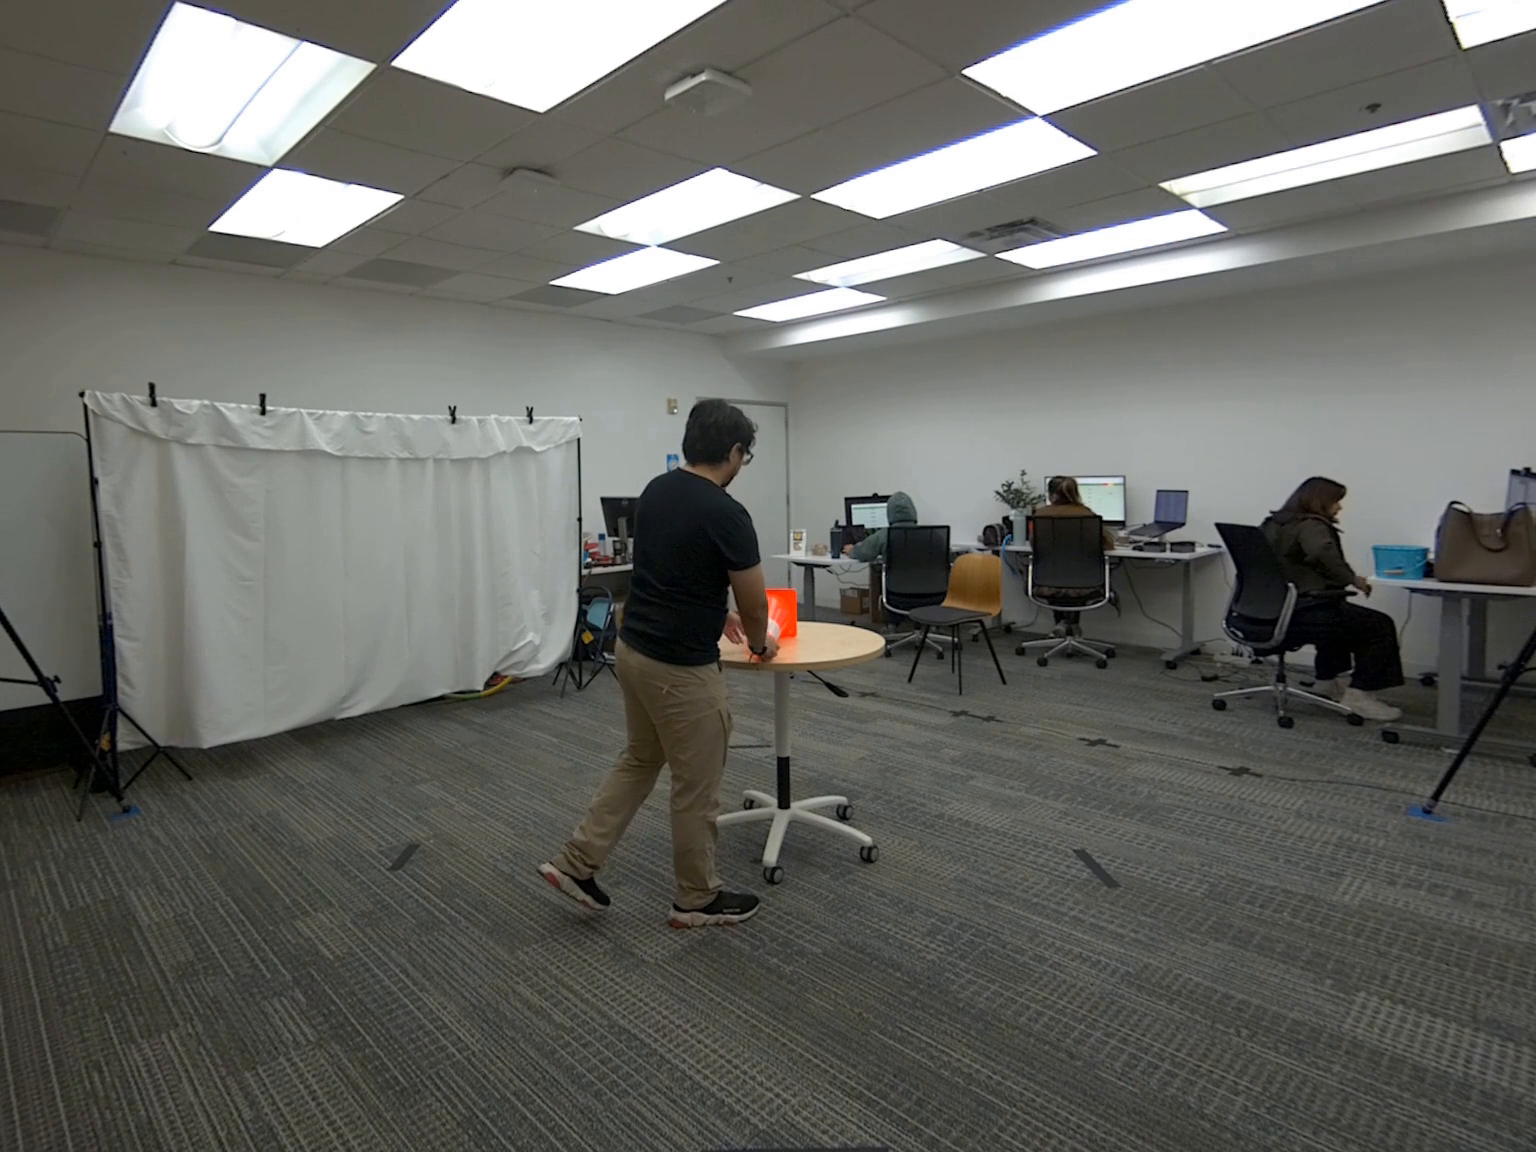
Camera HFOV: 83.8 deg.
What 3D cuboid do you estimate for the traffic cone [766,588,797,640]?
[{"bbox_3d":[0.002,0.214,3.048,0.205,0.200,0.390,6,20,-2],"label":"traffic cone"}]
